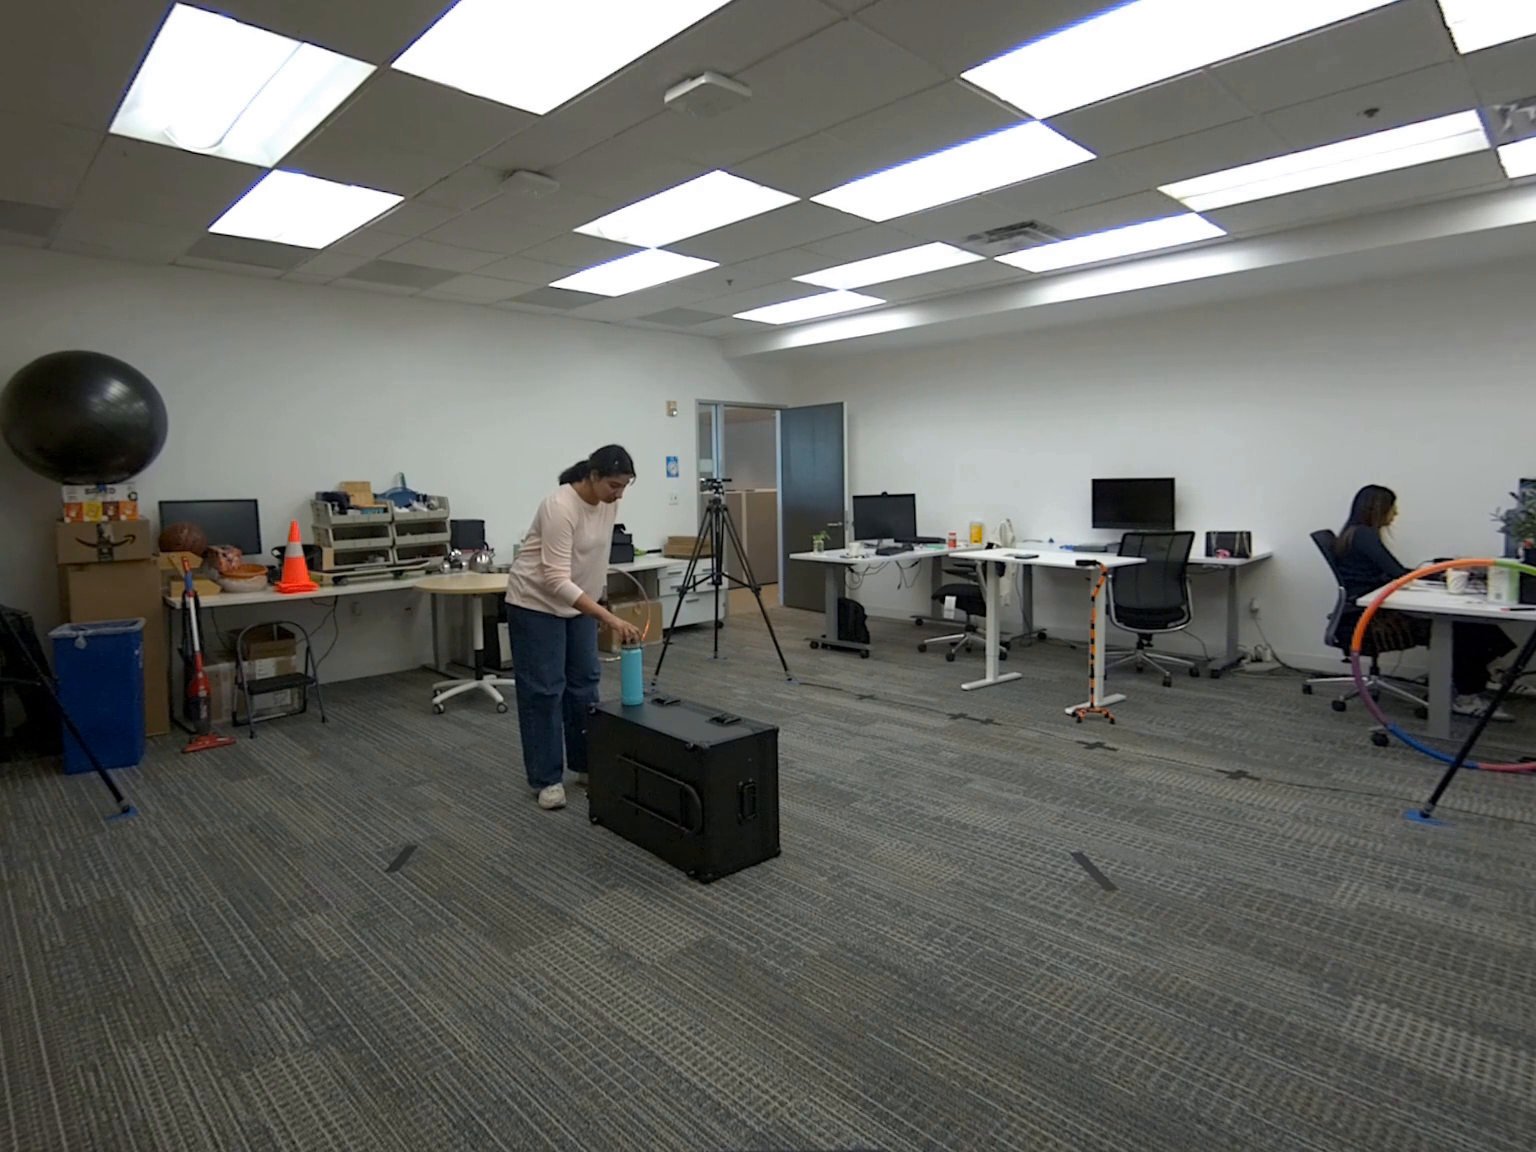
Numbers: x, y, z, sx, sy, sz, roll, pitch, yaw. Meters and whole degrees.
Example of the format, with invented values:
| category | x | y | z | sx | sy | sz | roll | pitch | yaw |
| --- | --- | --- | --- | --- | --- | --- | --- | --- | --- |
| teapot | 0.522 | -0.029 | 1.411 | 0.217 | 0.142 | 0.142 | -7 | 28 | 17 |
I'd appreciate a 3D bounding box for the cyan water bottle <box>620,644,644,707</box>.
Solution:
| category | x | y | z | sx | sy | sz | roll | pitch | yaw |
| --- | --- | --- | --- | --- | --- | --- | --- | --- | --- |
| cyan water bottle | -0.566 | 0.385 | 3.534 | 0.092 | 0.283 | 0.092 | -2 | 3 | -2 |
